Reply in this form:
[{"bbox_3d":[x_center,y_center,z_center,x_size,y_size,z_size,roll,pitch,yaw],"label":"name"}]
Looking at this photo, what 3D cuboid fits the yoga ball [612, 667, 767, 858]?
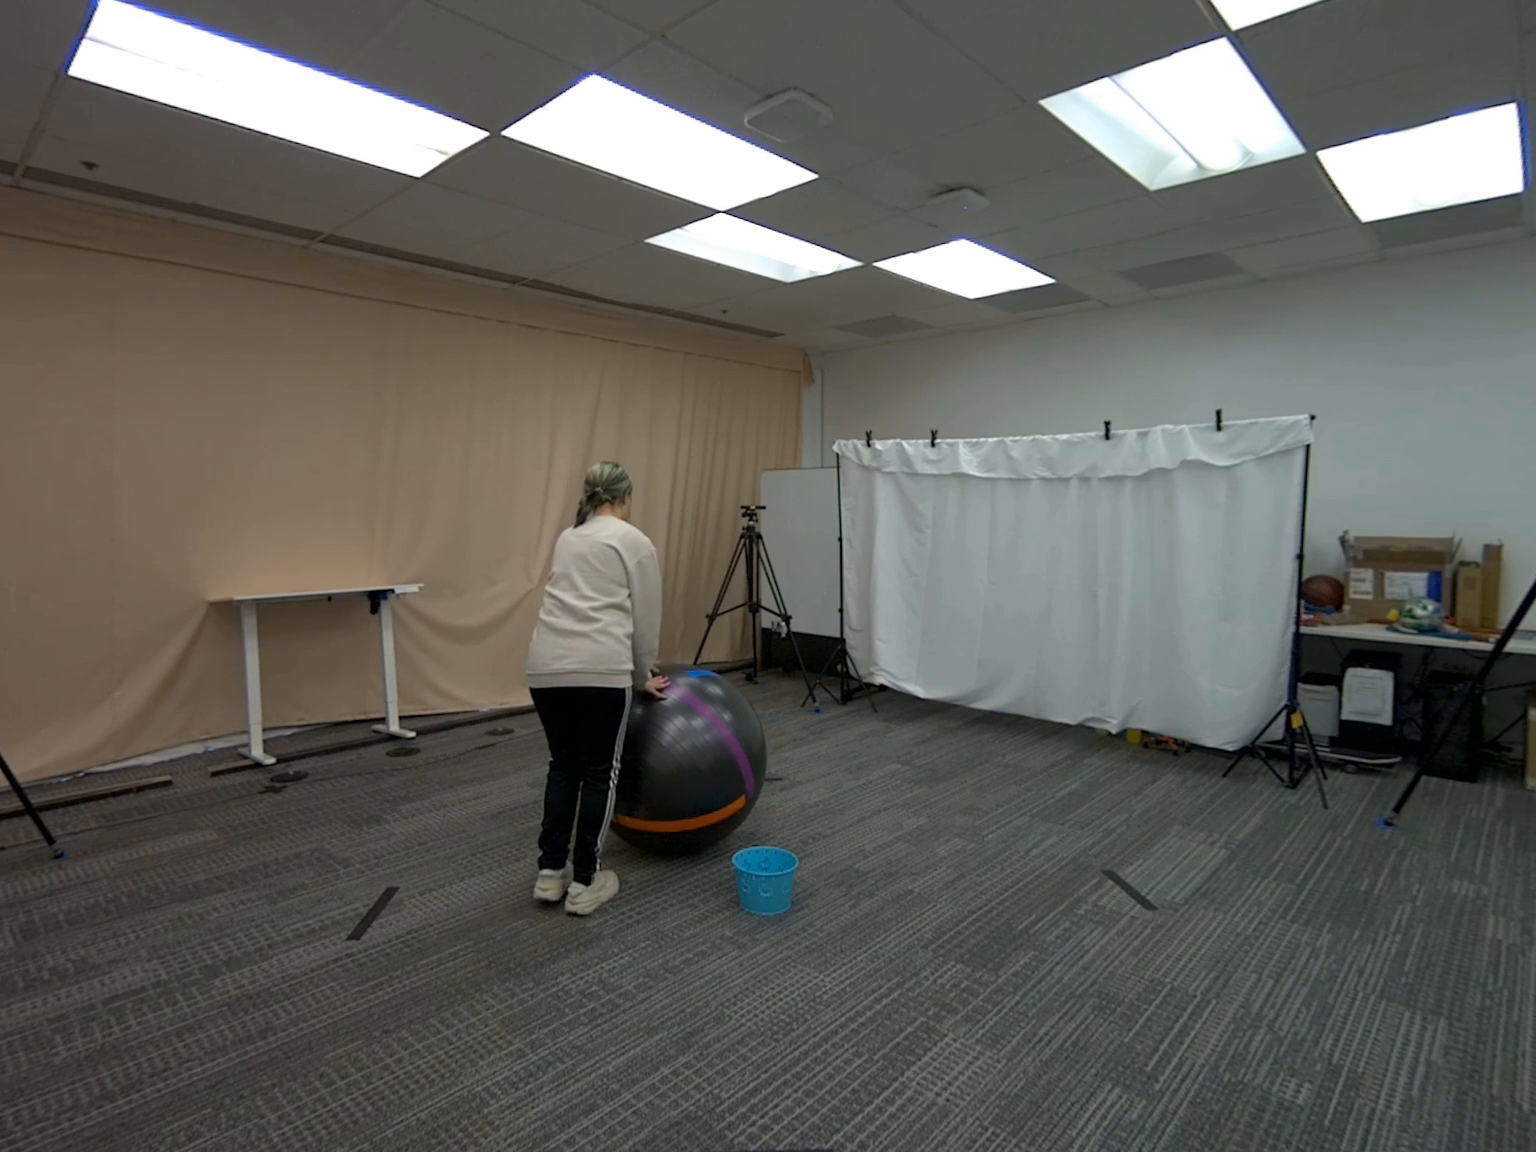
[{"bbox_3d":[-0.385,0.747,3.451,0.757,0.756,0.760,0,4,-2],"label":"yoga ball"}]
